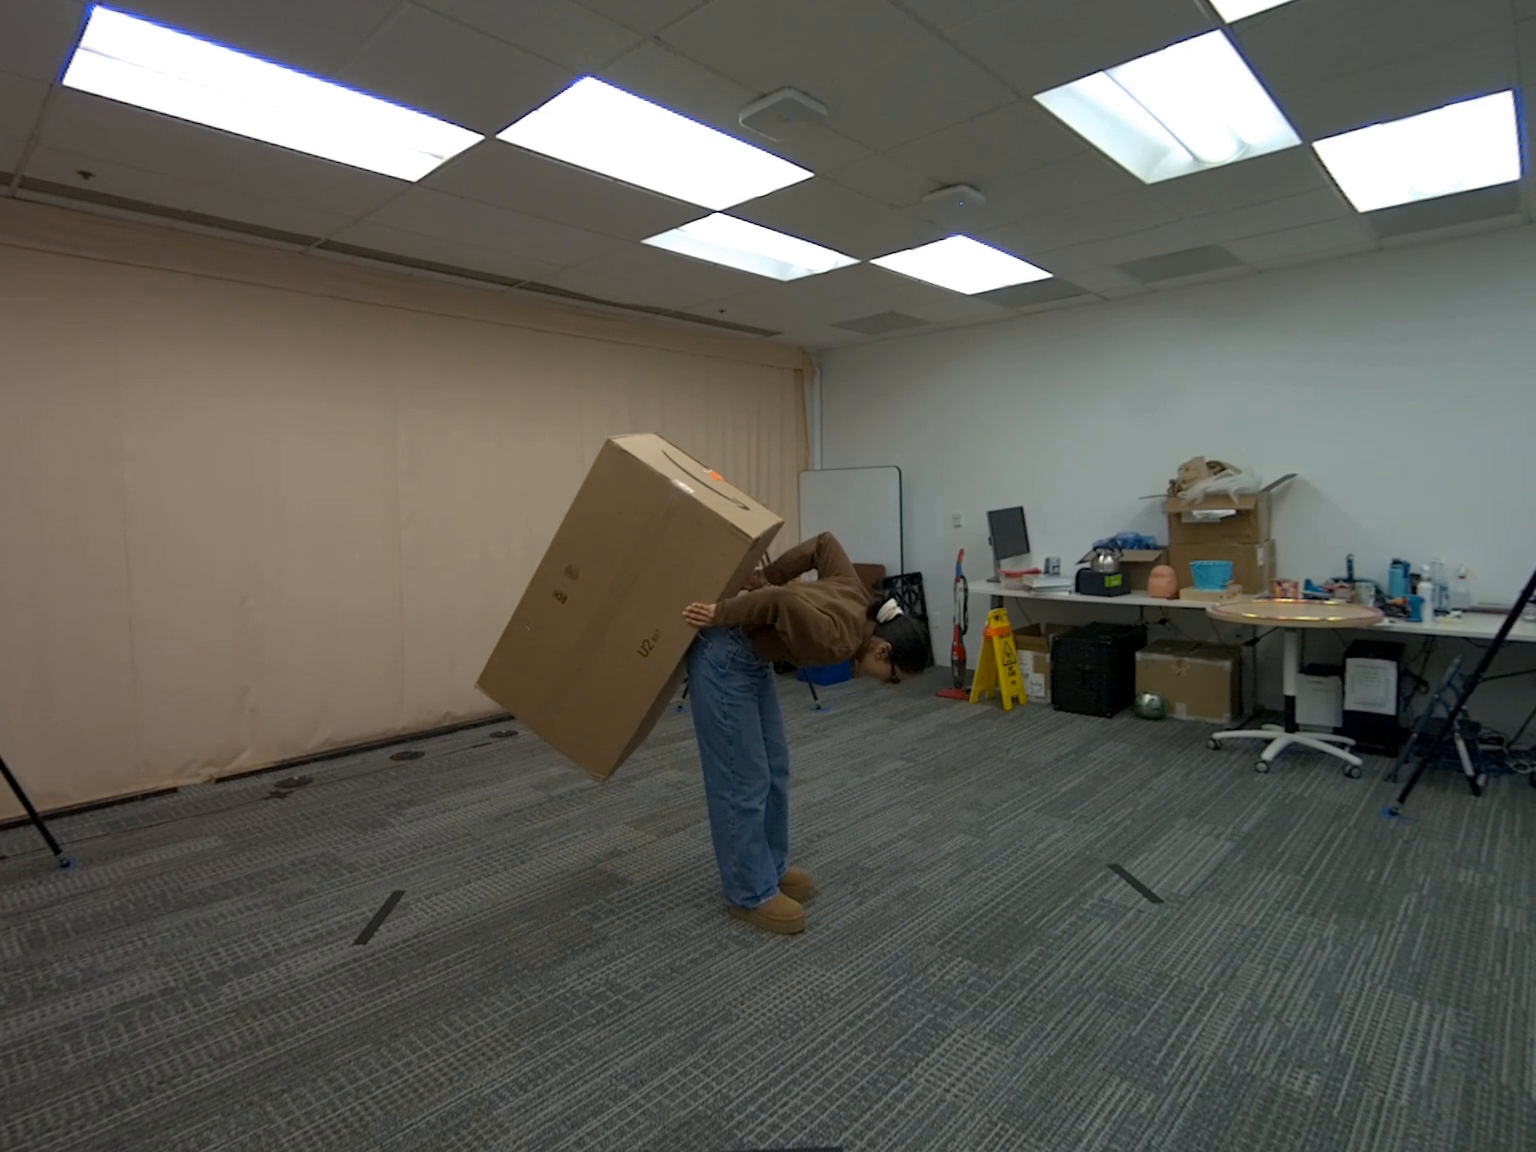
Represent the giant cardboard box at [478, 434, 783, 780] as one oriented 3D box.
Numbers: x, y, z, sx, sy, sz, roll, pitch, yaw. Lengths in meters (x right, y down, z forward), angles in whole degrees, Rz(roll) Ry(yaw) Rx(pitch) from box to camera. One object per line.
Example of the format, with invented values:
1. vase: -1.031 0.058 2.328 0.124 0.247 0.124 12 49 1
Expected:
1. giant cardboard box: -0.485 0.097 2.955 0.590 1.027 0.442 35 18 7
